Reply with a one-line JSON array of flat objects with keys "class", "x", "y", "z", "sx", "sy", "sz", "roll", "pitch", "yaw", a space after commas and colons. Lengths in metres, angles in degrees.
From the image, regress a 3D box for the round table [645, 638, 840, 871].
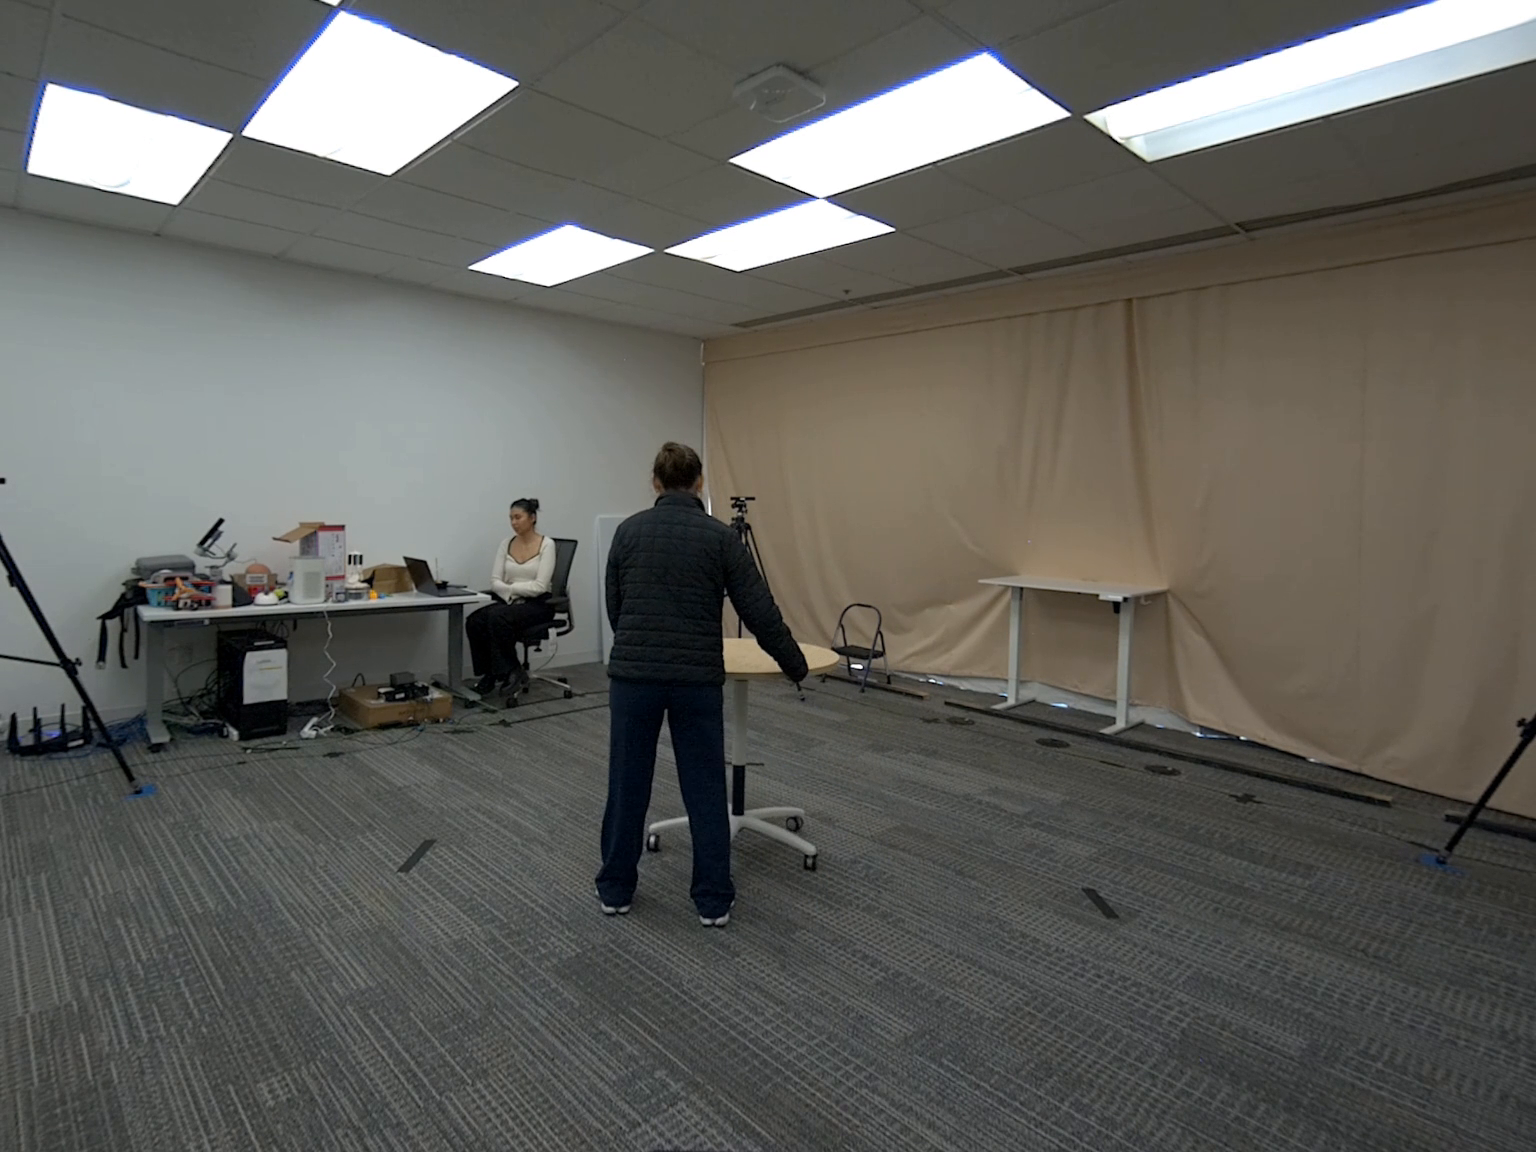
[{"class": "round table", "x": -0.119, "y": 0.696, "z": 3.335, "sx": 0.784, "sy": 0.784, "sz": 0.788, "roll": 1, "pitch": 4, "yaw": -1}]
